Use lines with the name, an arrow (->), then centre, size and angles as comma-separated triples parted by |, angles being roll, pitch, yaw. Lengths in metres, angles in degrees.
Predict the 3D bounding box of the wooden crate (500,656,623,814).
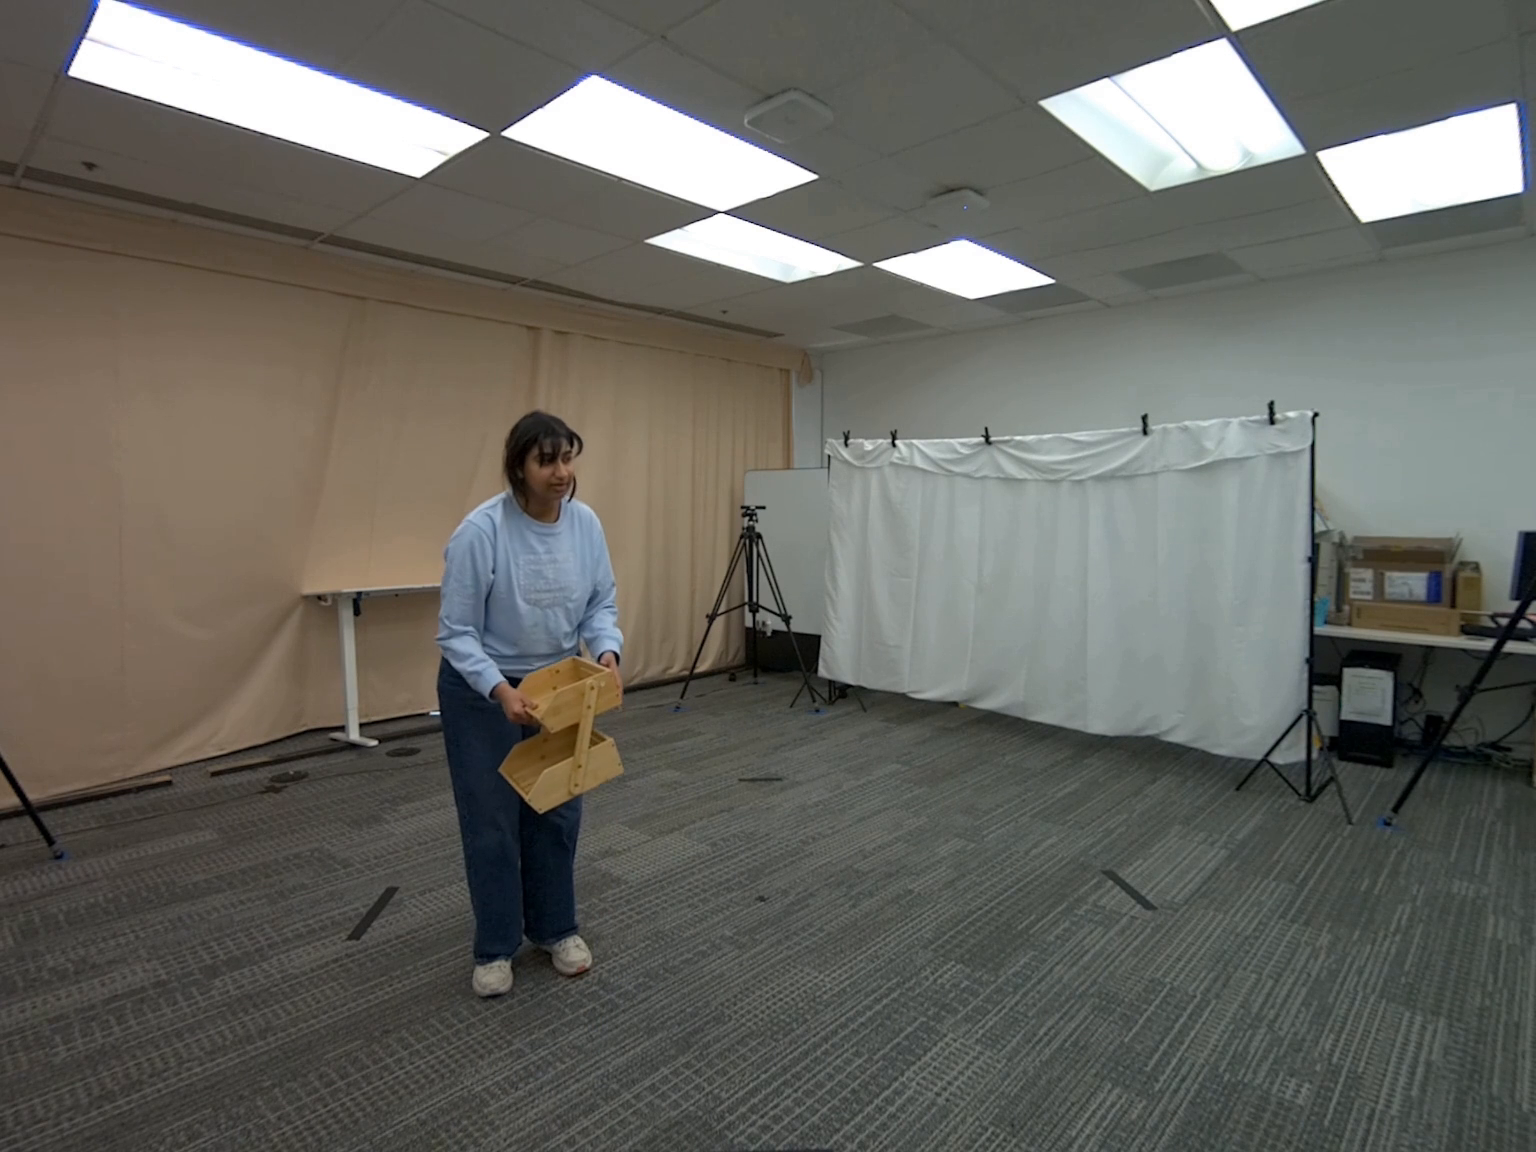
wooden crate -> -0.564, 0.405, 2.192 | 0.296, 0.271, 0.333 | -20, 11, -27
